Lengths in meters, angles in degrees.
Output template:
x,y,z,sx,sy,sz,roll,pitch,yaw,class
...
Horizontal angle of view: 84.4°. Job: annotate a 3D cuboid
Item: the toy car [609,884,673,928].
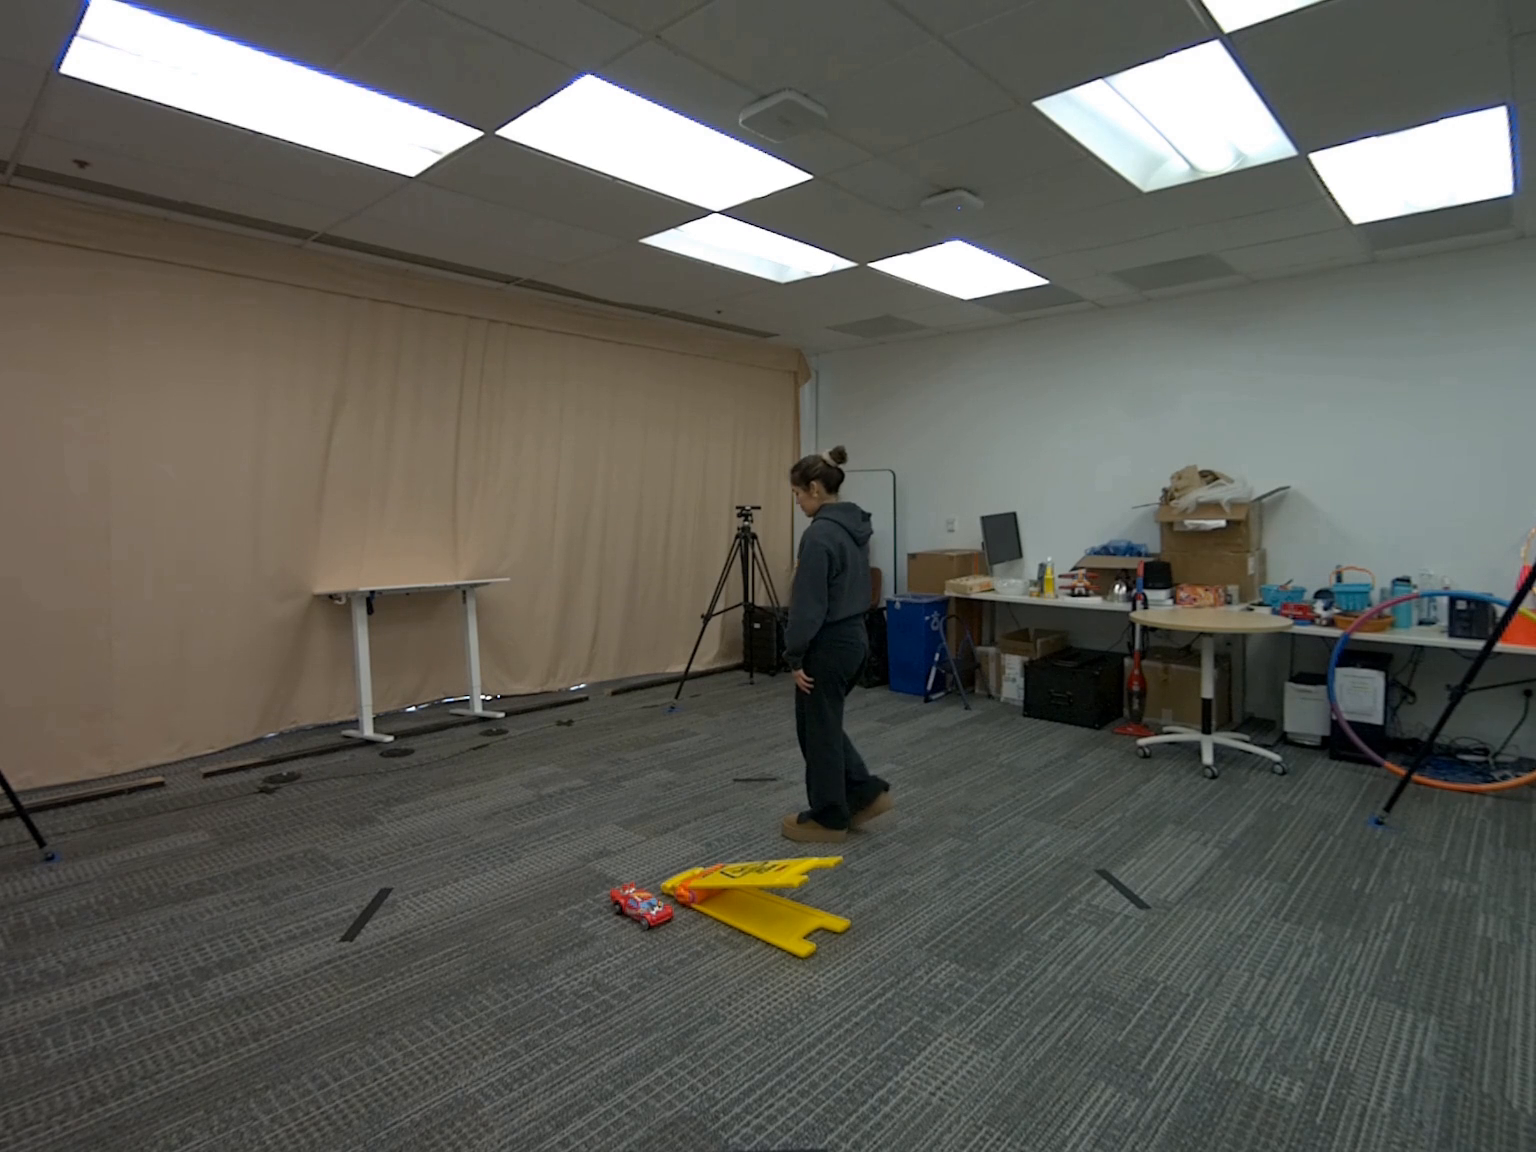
x,y,z,sx,sy,sz,roll,pitch,yaw,class
-0.415,1.126,2.873,0.126,0.083,0.264,-5,17,-43,toy car
